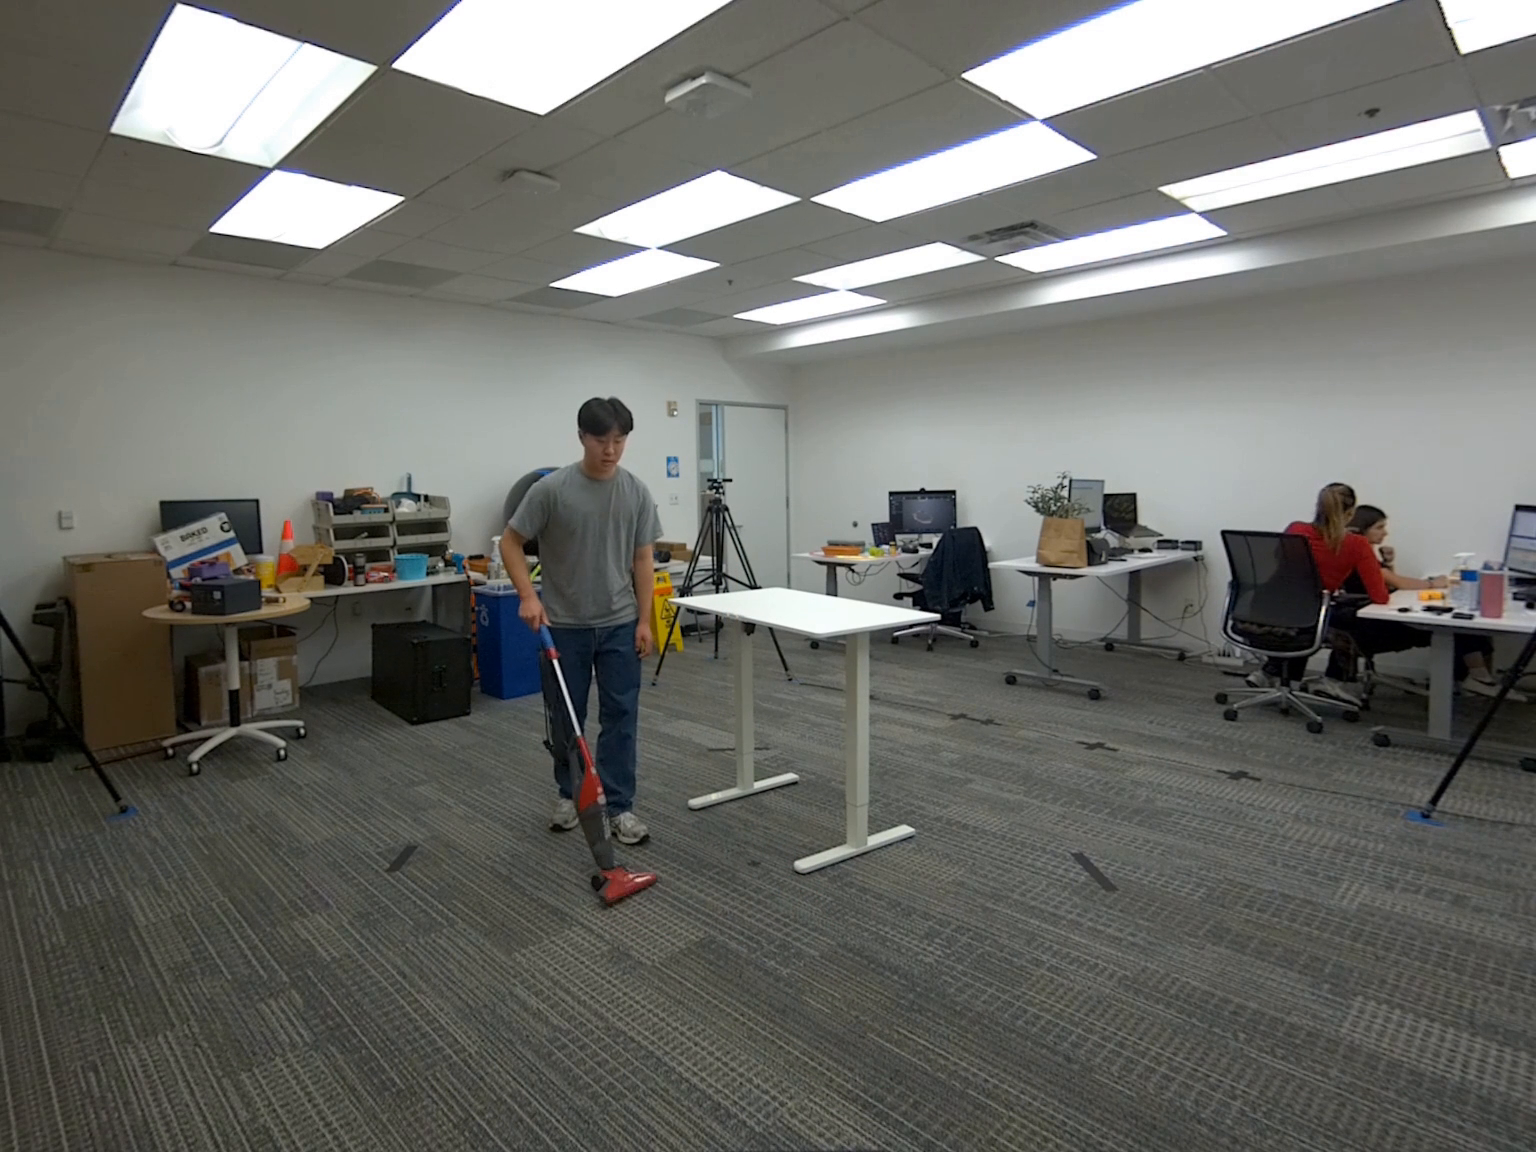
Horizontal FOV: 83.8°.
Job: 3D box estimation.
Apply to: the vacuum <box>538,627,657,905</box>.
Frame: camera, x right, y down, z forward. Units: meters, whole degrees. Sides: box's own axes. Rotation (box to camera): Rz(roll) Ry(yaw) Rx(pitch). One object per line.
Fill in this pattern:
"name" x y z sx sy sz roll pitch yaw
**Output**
"vacuum" -0.702 0.599 3.084 0.145 1.073 0.245 -36 -22 33
